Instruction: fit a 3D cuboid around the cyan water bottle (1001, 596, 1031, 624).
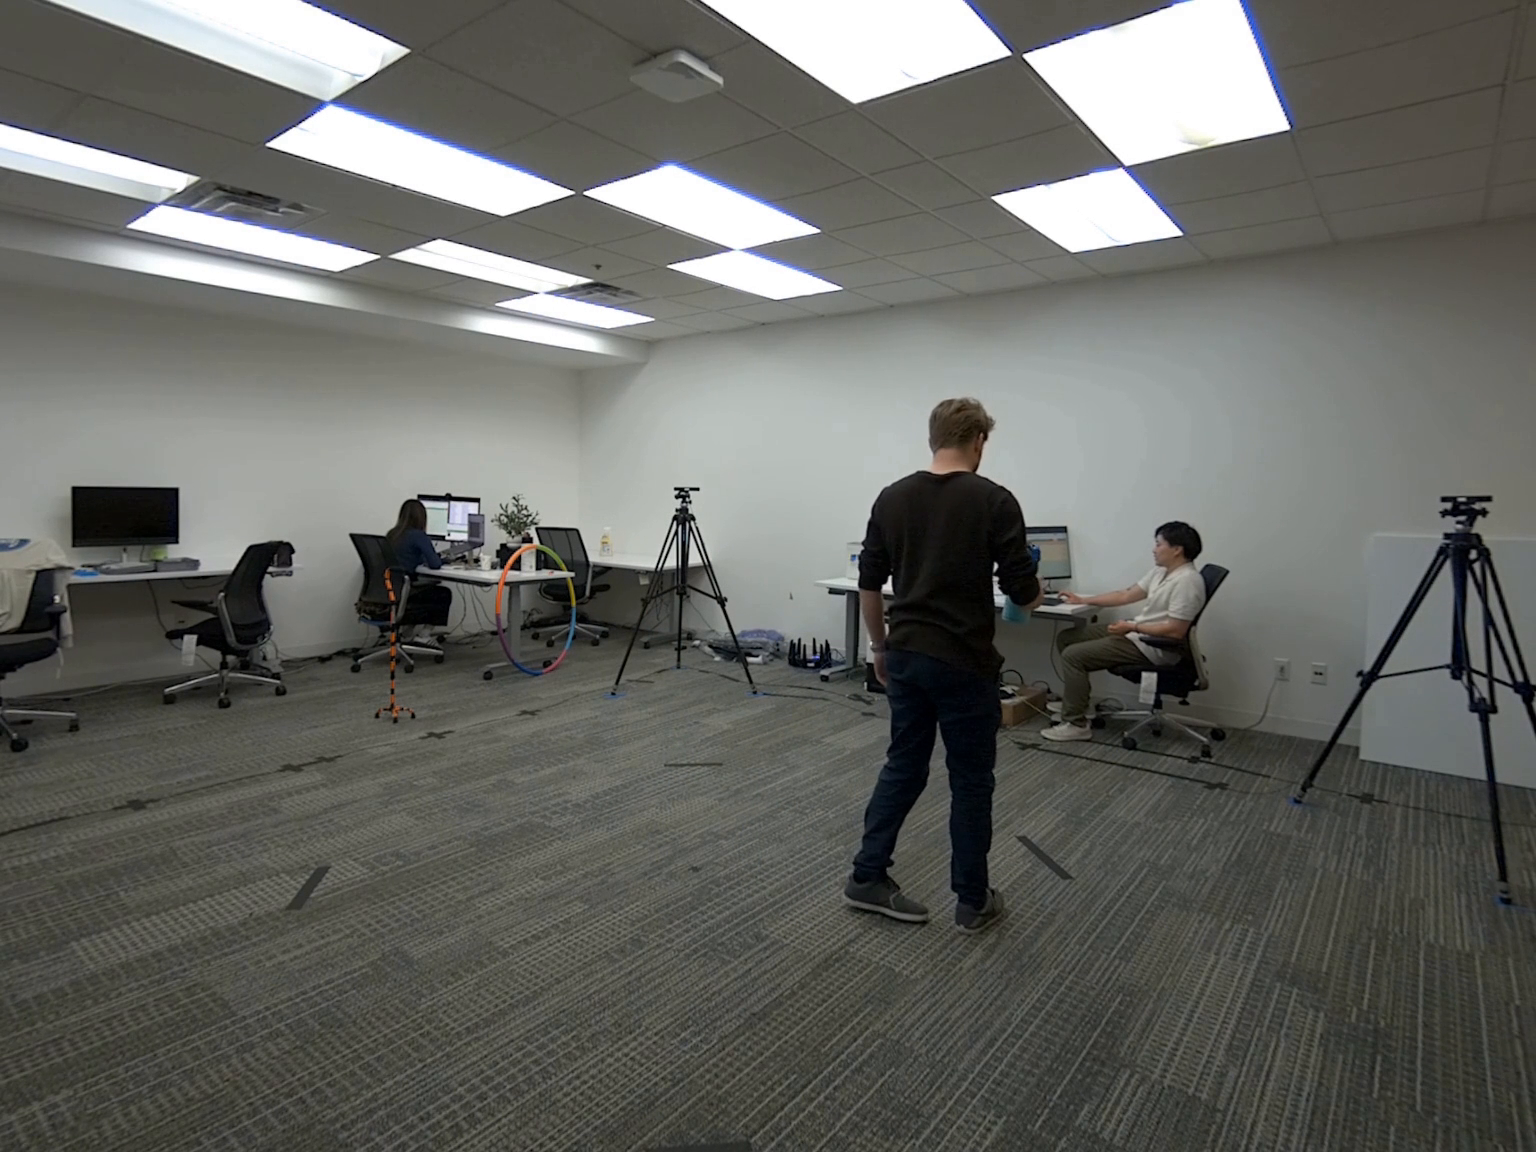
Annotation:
[{"bbox_3d":[0.876,0.019,2.936,0.092,0.283,0.092,9,1,-2],"label":"cyan water bottle"}]
